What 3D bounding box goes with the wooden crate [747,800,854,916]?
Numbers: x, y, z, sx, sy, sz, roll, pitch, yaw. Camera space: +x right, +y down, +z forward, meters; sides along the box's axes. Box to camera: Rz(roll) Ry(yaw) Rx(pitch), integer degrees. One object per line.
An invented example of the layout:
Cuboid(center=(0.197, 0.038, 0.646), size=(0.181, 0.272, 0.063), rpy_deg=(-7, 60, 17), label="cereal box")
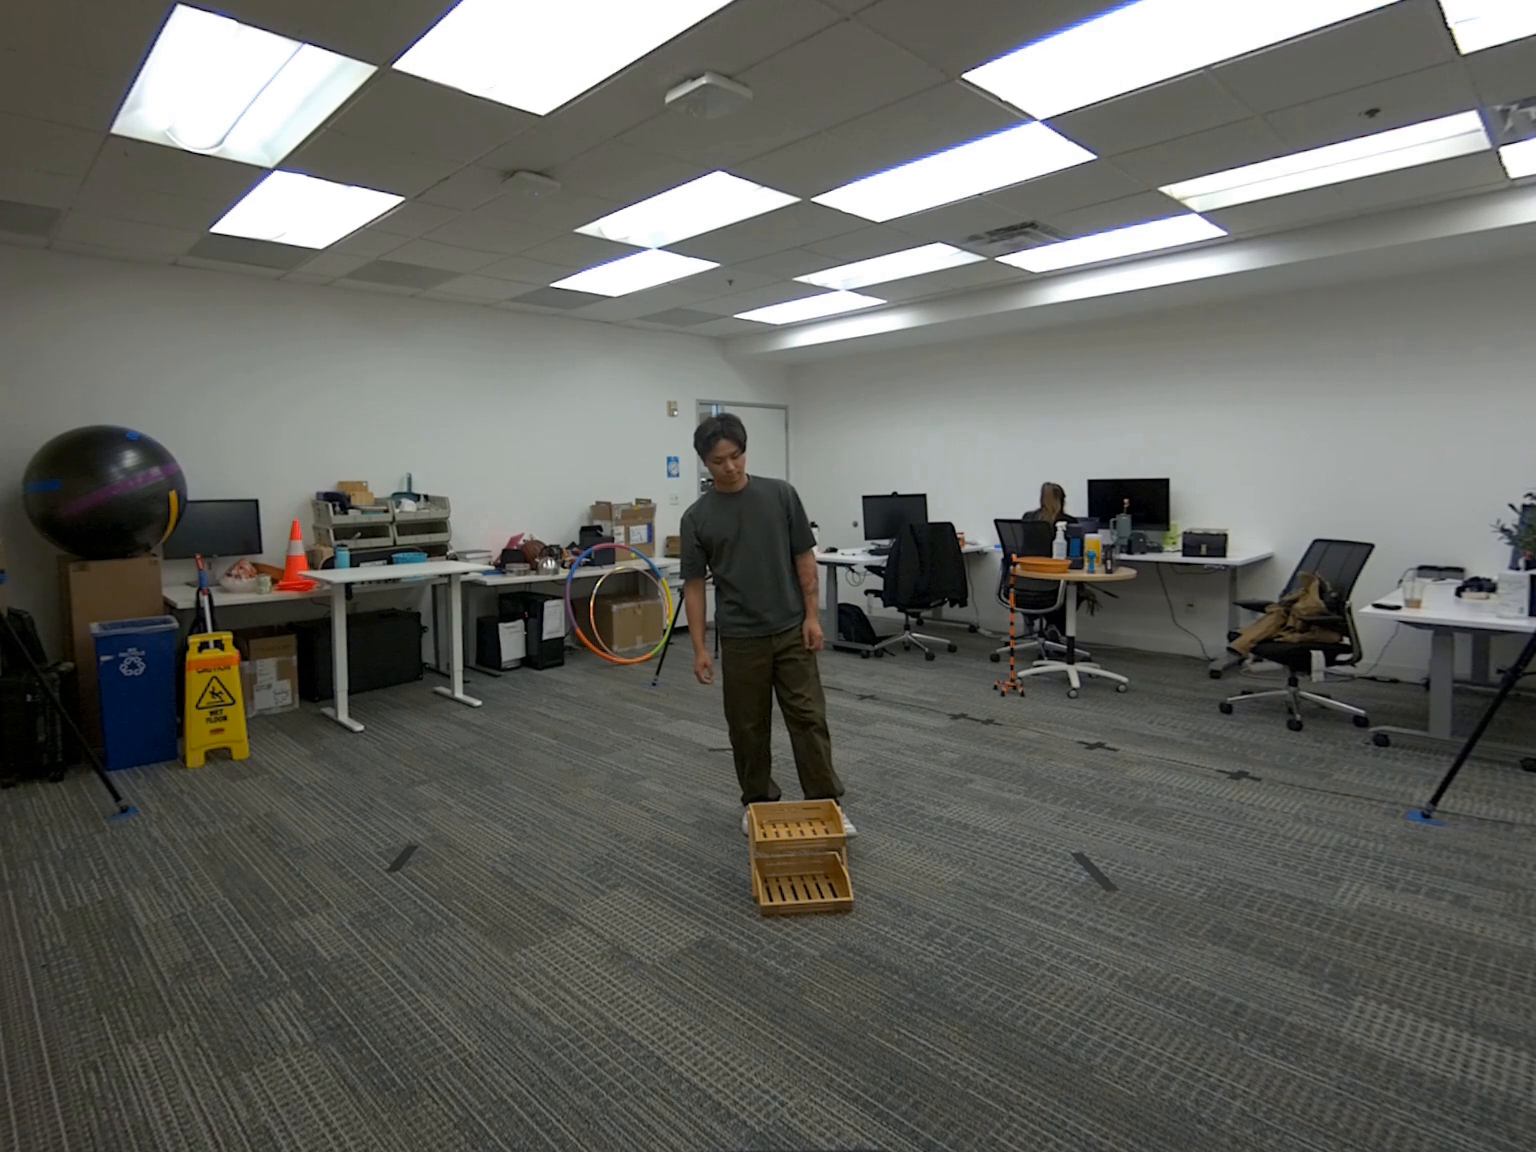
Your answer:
Cuboid(center=(0.103, 0.941, 2.859), size=(0.322, 0.272, 0.305), rpy_deg=(-2, 5, -7), label="wooden crate")
